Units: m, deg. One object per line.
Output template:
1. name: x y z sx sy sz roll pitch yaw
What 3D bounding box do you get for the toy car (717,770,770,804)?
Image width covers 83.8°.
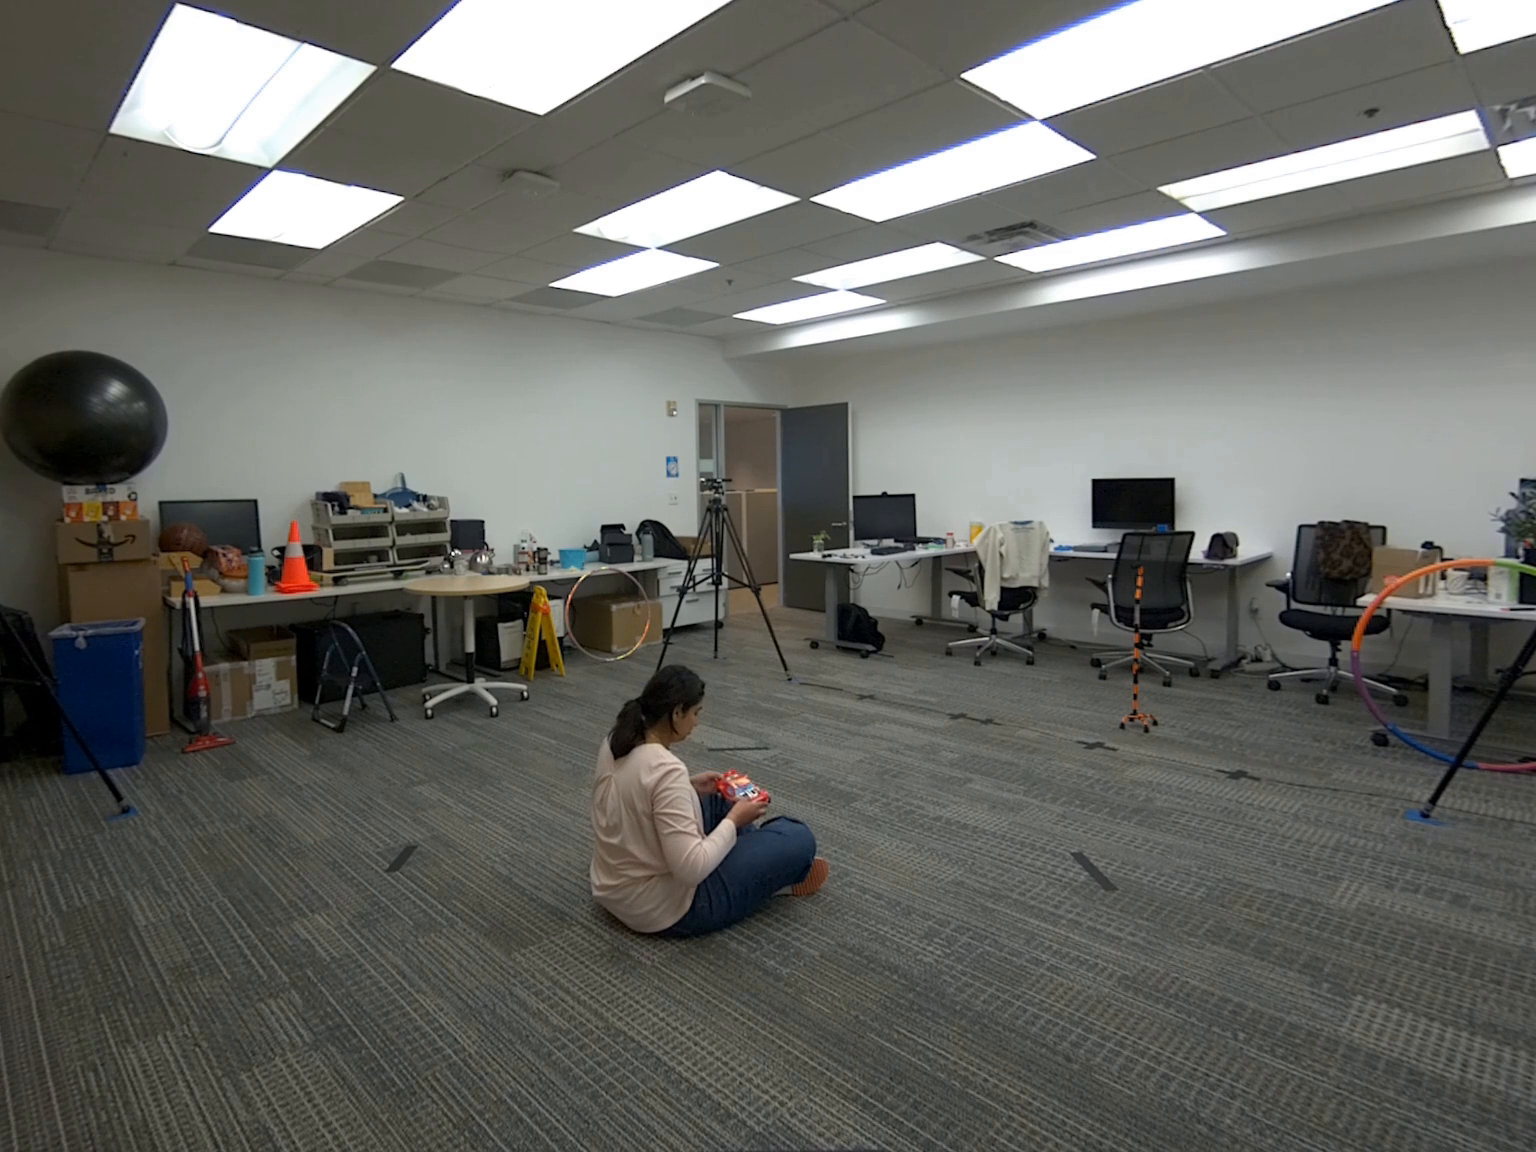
1. toy car: -0.093 0.736 2.922 0.128 0.081 0.263 -19 25 -22
